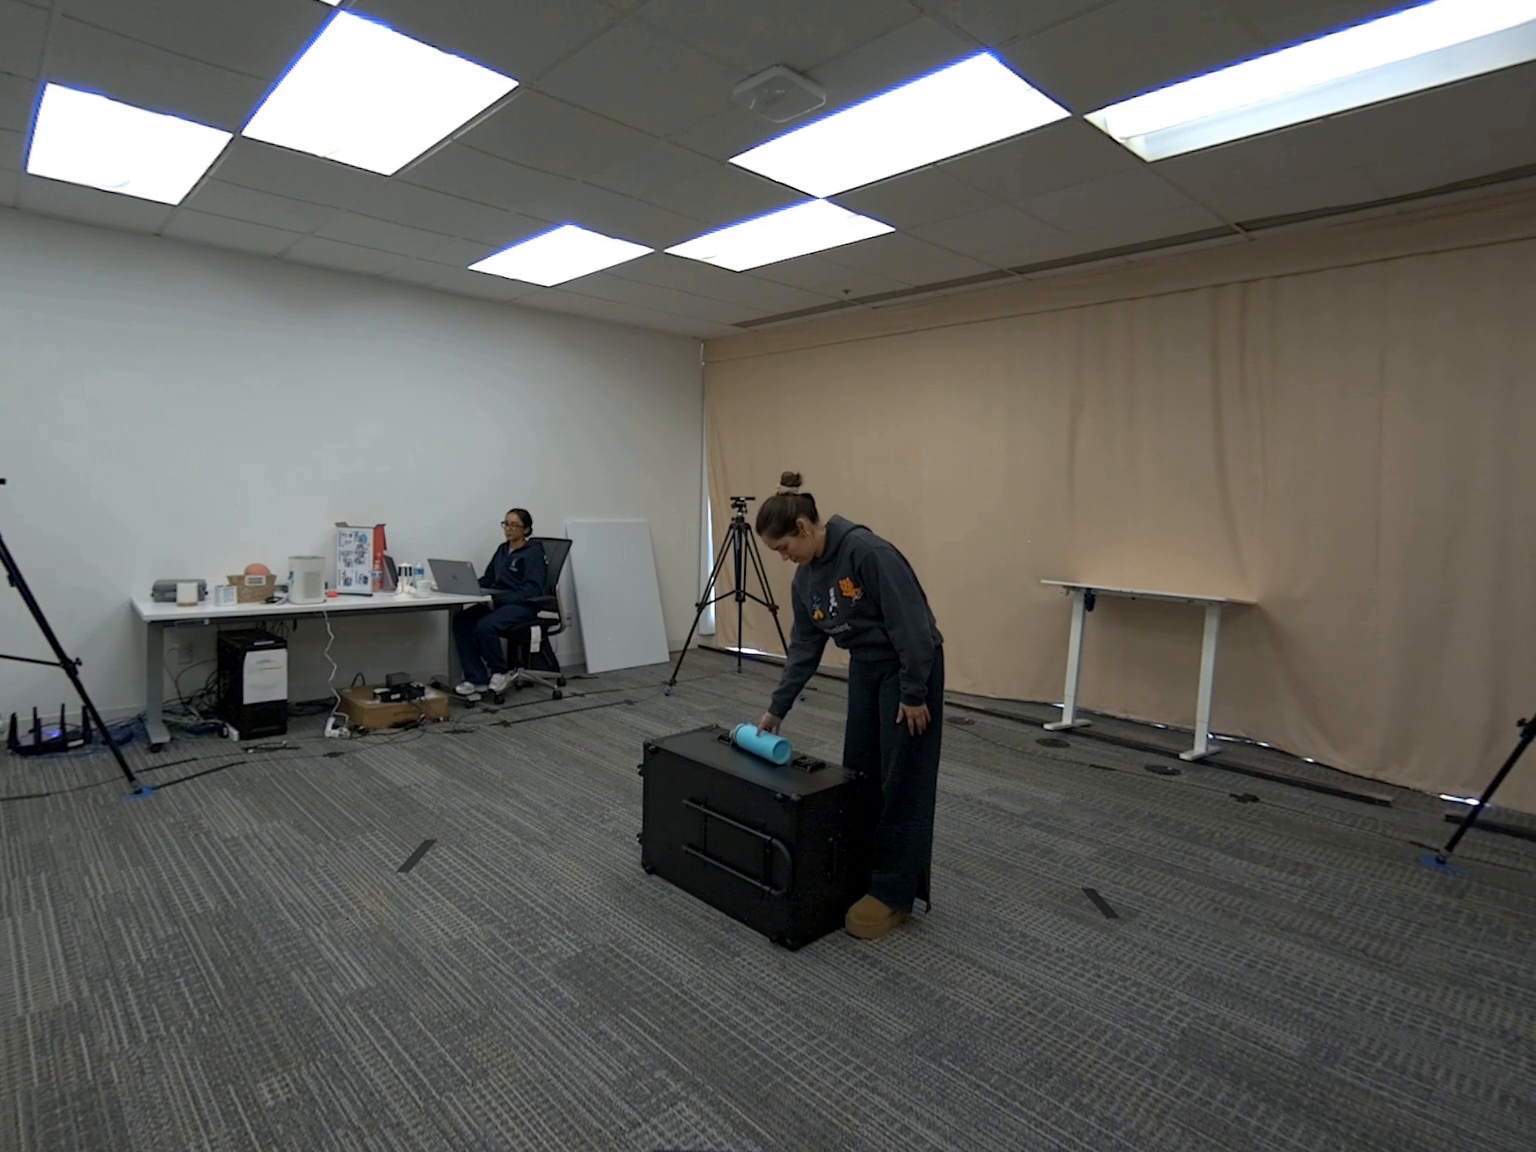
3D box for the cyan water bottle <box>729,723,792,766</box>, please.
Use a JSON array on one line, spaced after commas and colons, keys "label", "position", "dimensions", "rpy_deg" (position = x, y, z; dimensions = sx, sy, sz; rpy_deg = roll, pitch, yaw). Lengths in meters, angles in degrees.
[{"label": "cyan water bottle", "position": [-0.039, 0.588, 3.006], "dimensions": [0.090, 0.092, 0.290], "rpy_deg": [-2, 5, -34]}]
